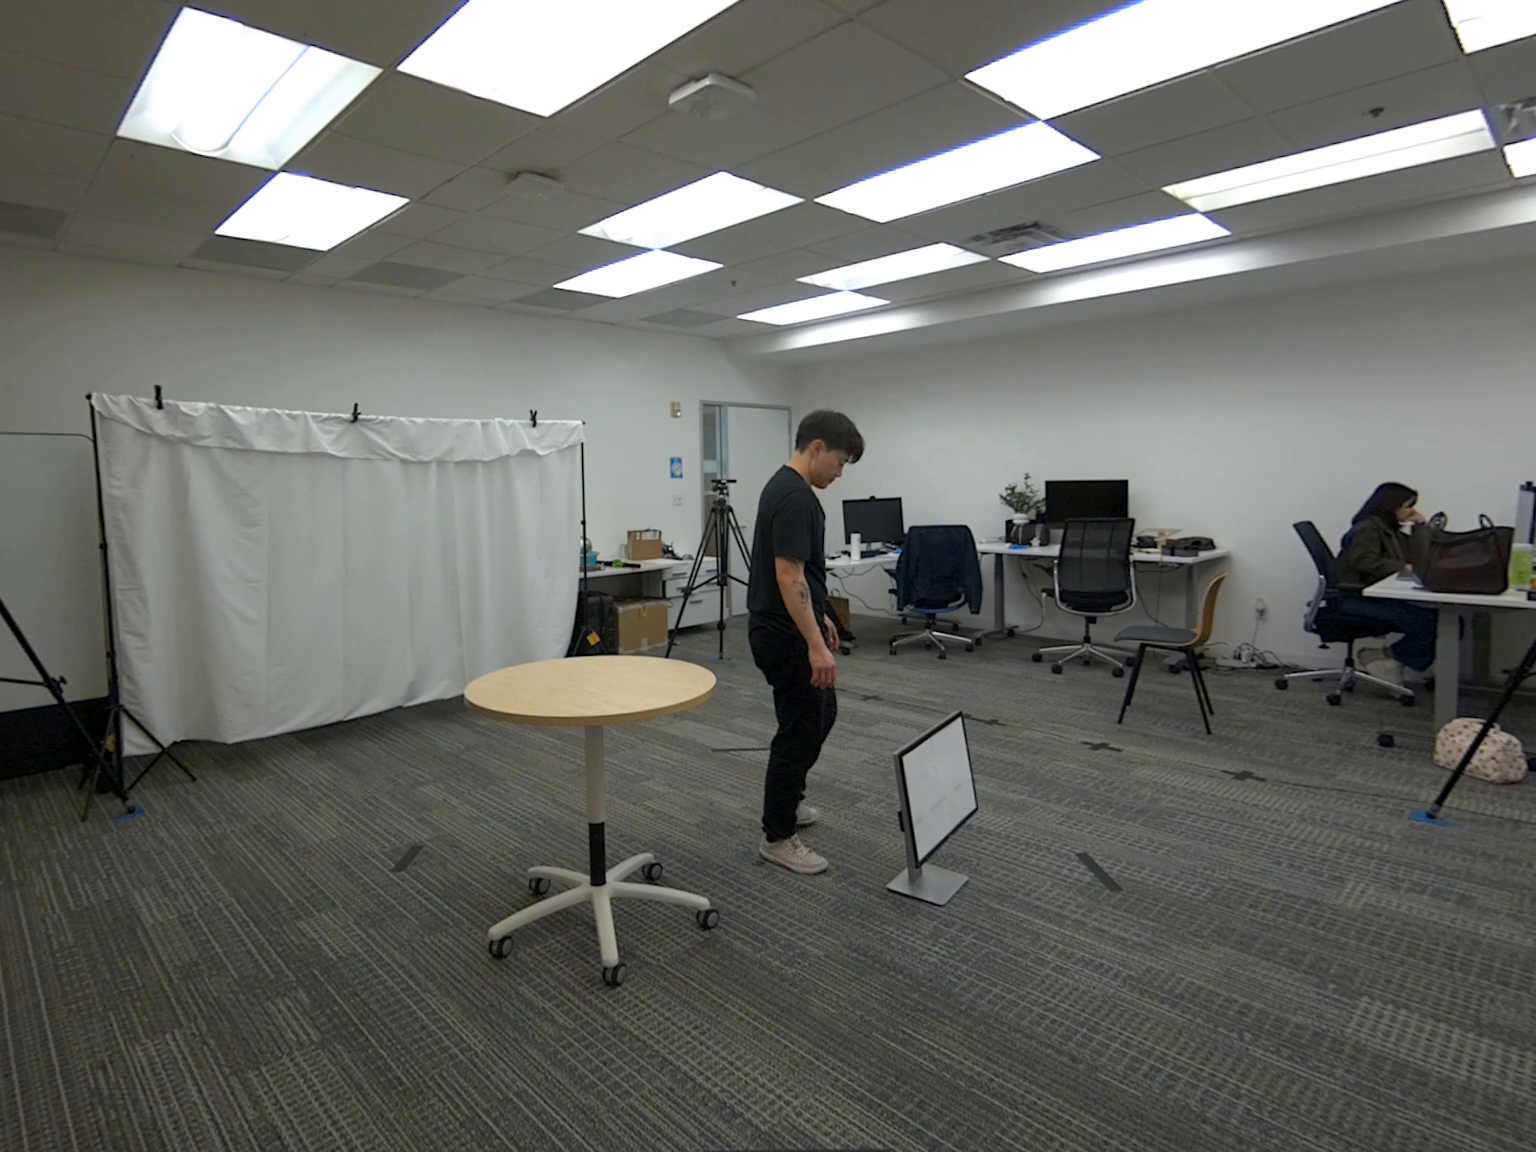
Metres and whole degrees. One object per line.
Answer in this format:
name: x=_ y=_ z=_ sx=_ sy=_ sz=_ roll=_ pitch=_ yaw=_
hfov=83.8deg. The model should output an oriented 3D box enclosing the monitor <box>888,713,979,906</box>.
monitor: x=0.553 y=0.799 z=2.906 sx=0.192 sy=0.520 sz=0.527 roll=3 pitch=8 yaw=32
